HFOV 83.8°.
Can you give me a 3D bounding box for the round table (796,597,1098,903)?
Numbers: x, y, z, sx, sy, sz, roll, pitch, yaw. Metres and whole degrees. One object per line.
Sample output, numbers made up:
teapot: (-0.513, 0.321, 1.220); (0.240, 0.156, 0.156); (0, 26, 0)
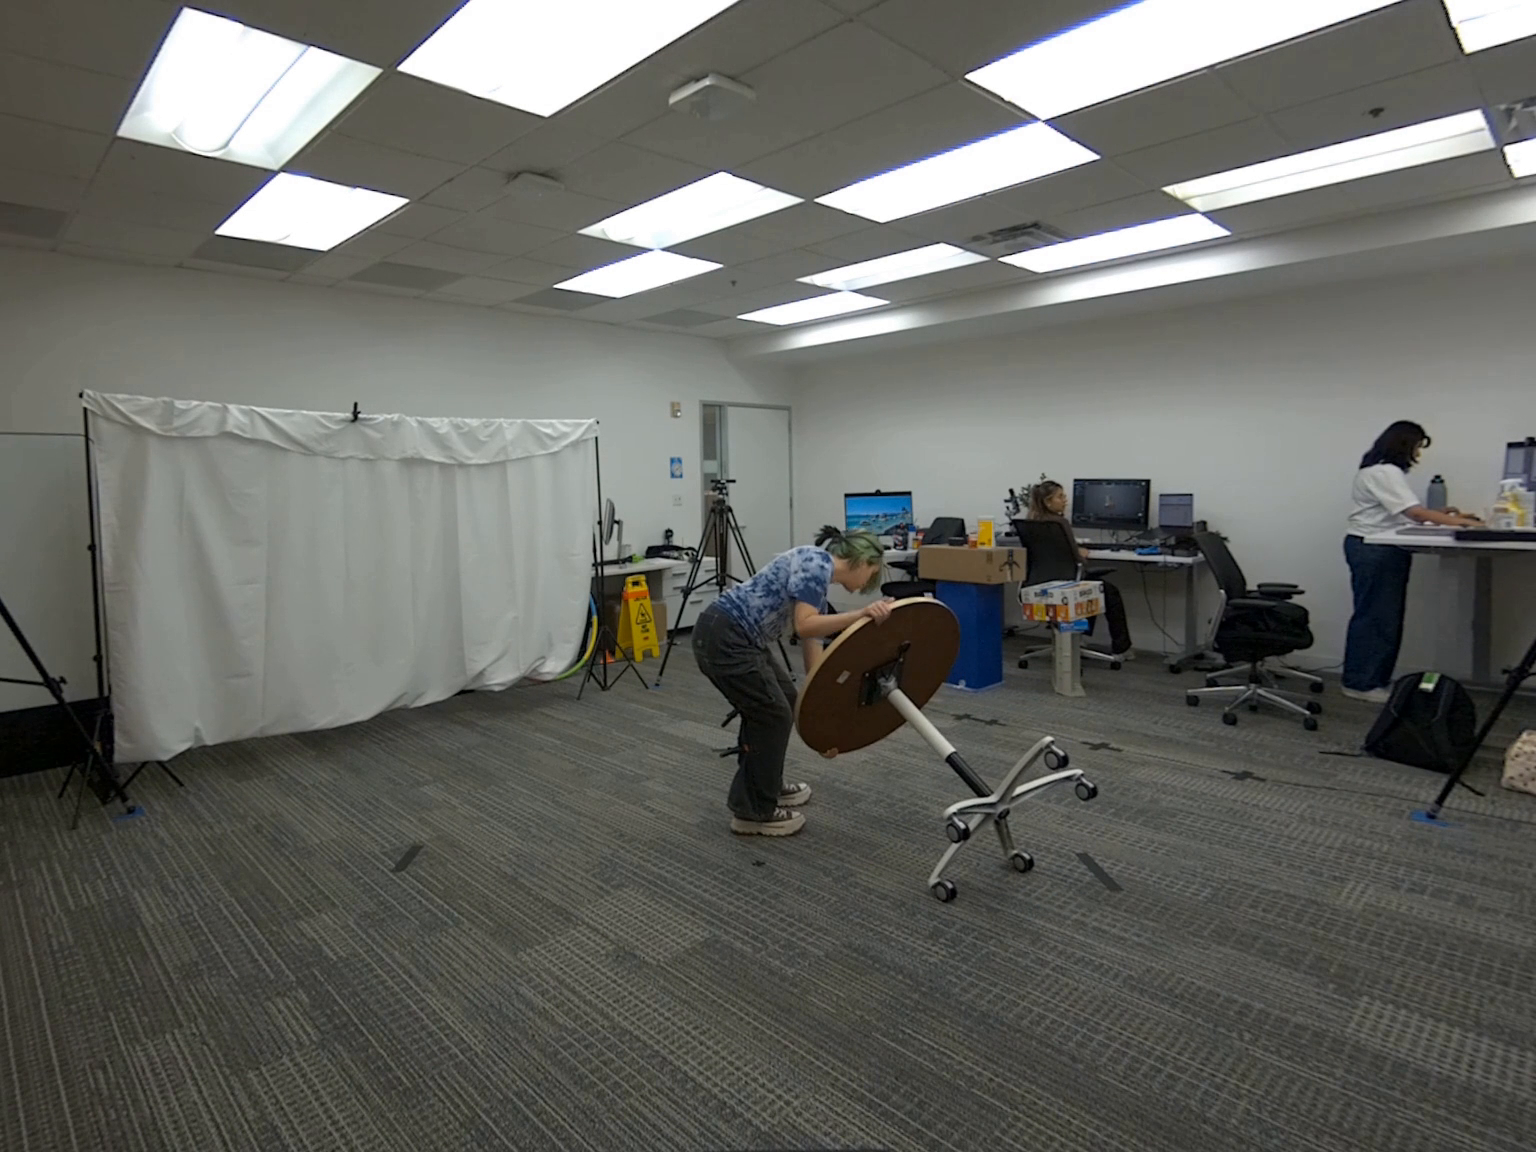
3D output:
round table: (0.635, 0.614, 3.057); (0.745, 0.753, 0.826); (-4, 36, -34)
